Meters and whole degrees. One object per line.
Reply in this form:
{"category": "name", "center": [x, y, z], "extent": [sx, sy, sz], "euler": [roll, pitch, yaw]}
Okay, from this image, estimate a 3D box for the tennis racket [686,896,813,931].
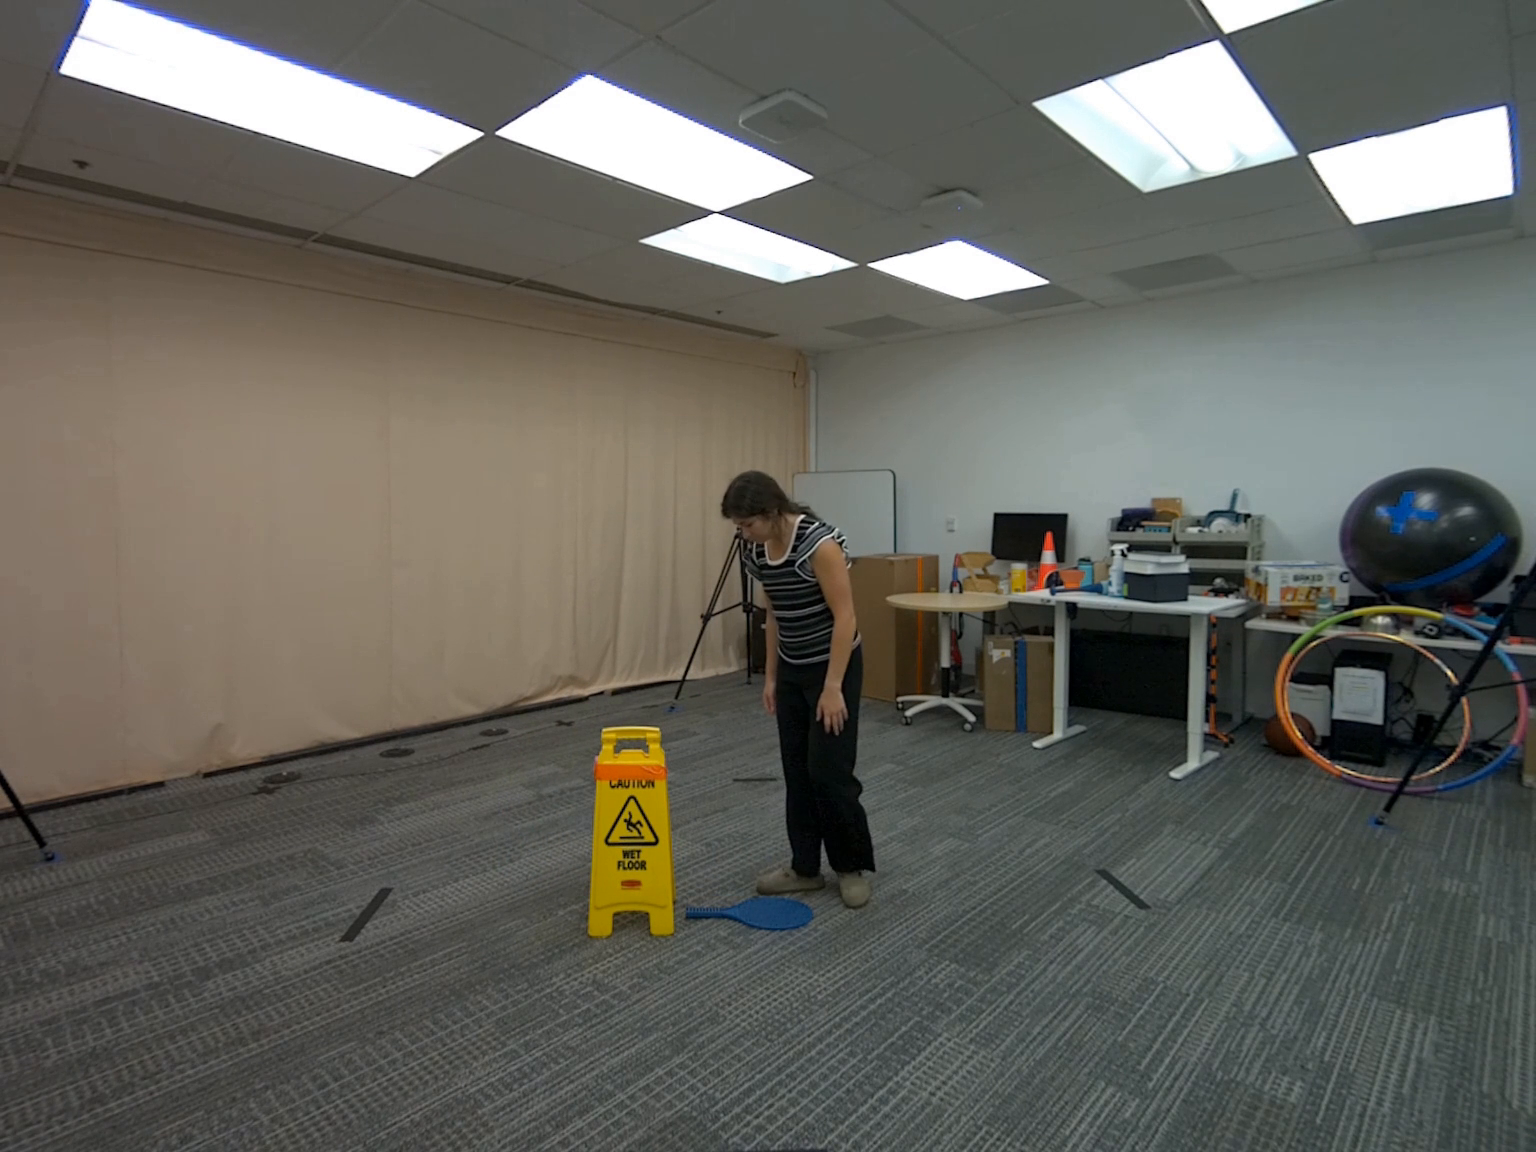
{"category": "tennis racket", "center": [-0.063, 1.141, 2.857], "extent": [0.433, 0.031, 0.214], "euler": [2, 5, 0]}
